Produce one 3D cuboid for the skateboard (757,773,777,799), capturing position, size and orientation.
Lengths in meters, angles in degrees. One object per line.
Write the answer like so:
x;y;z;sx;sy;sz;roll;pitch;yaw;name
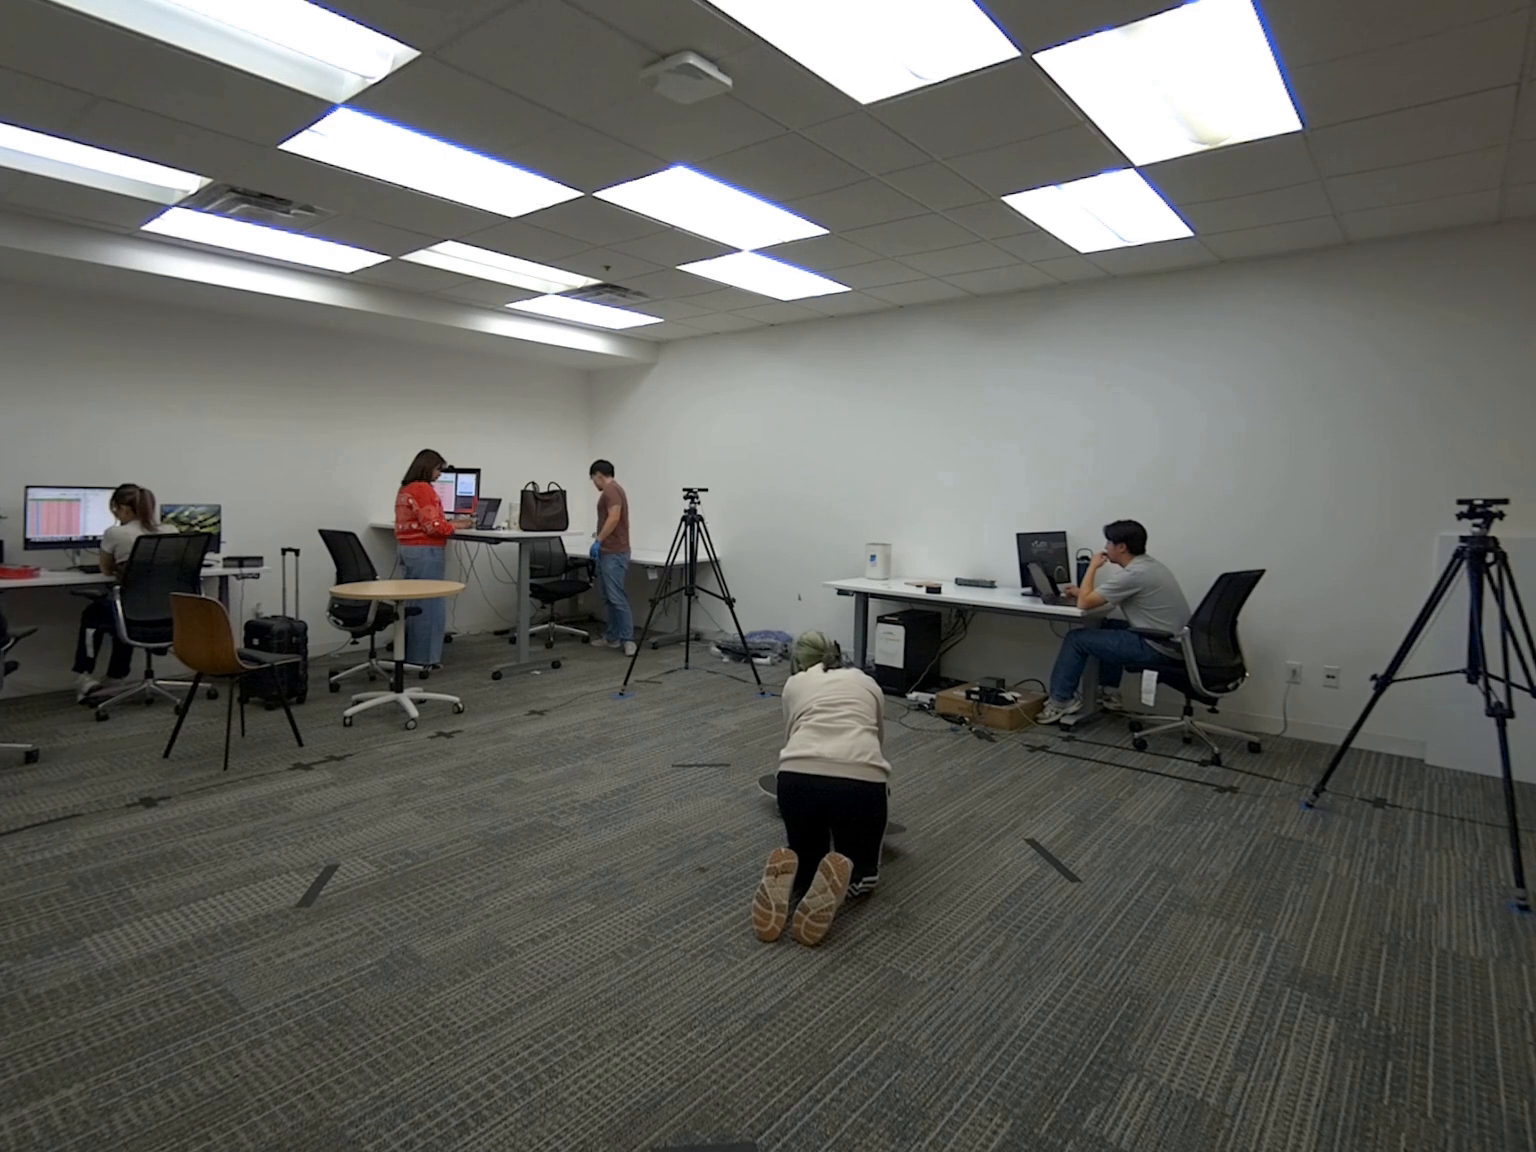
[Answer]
0.238;0.977;3.520;0.188;0.110;0.812;-3;7;-39;skateboard
